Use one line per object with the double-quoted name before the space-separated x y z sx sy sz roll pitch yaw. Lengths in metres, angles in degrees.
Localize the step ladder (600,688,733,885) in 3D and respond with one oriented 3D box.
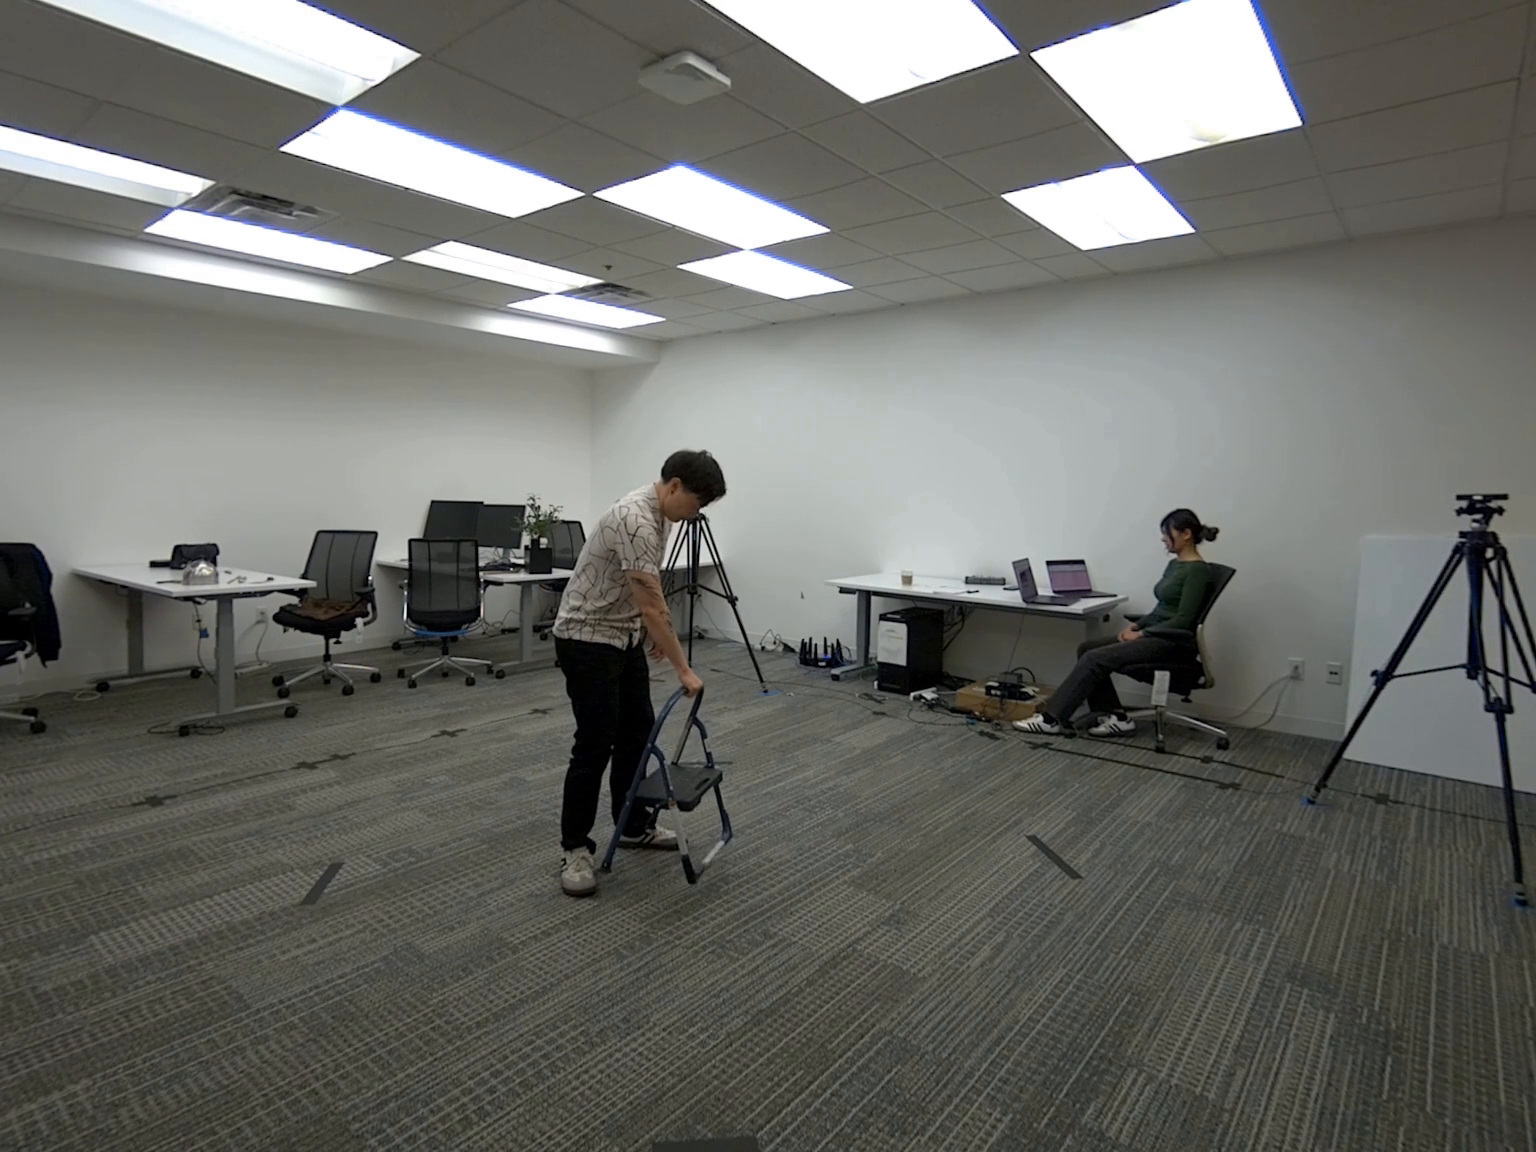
"step ladder" -0.356 0.676 2.975 0.356 0.605 0.424 0 3 17
